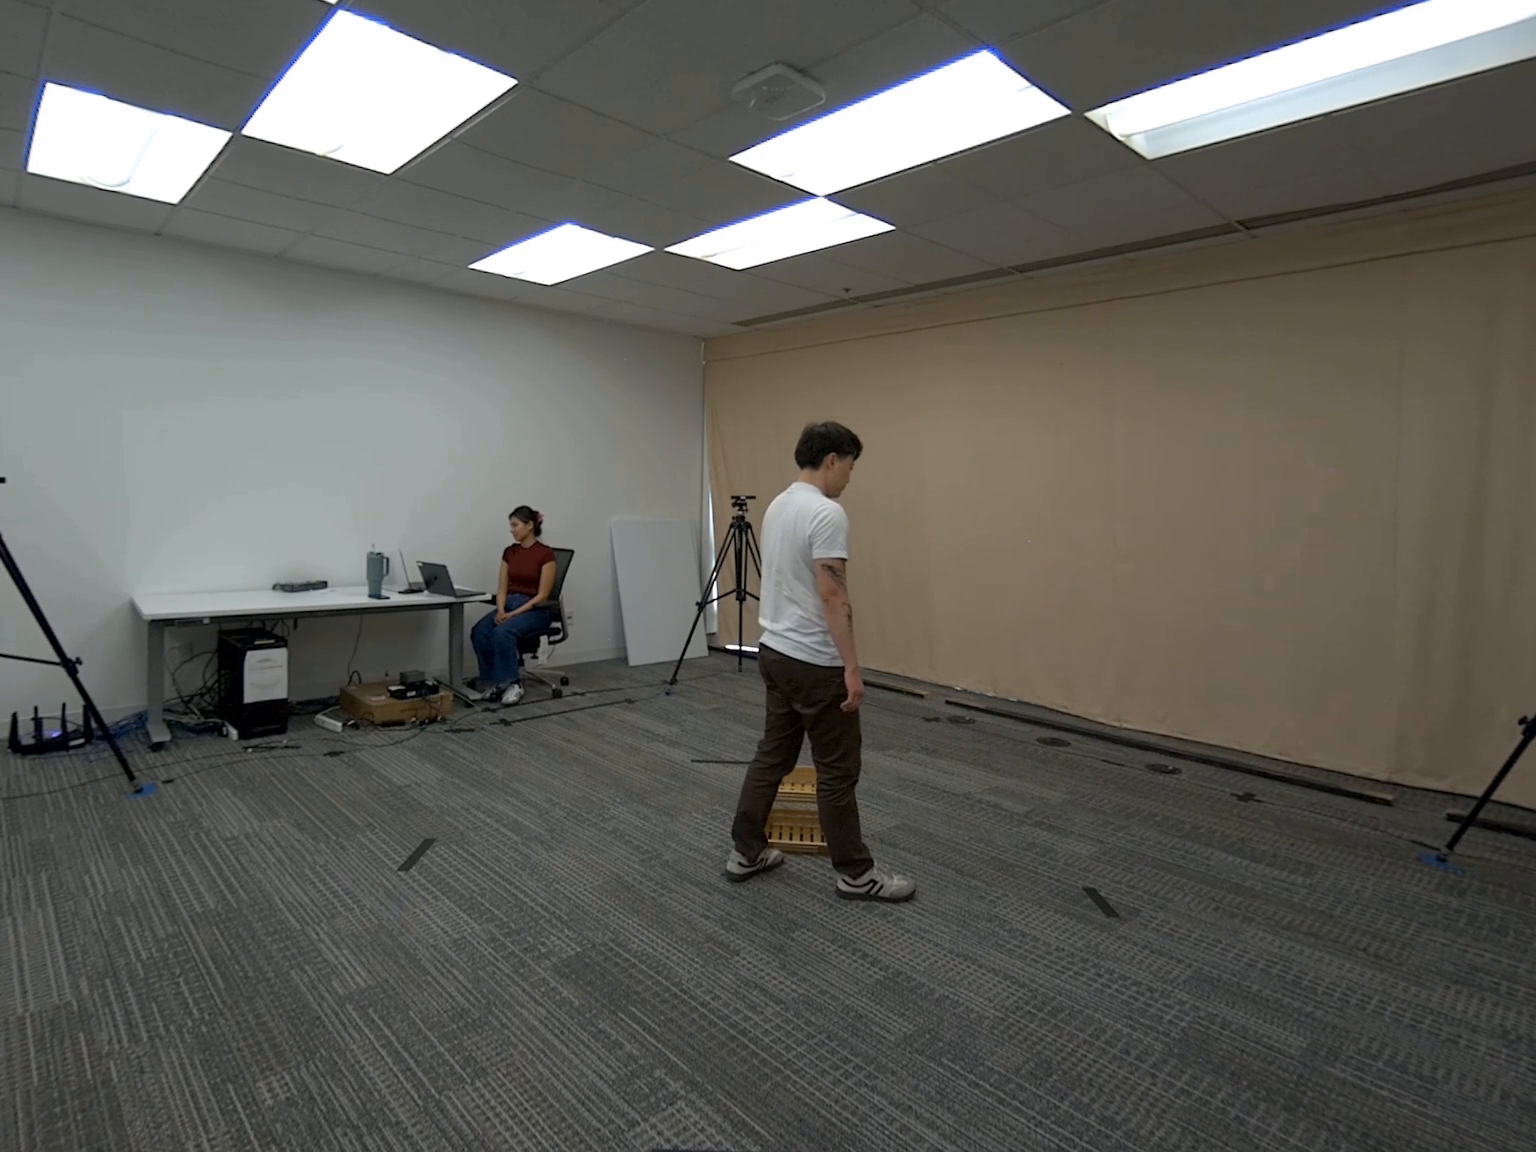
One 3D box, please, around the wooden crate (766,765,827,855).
[{"bbox_3d":[0.122,0.958,3.439,0.325,0.273,0.301,2,2,4],"label":"wooden crate"}]
